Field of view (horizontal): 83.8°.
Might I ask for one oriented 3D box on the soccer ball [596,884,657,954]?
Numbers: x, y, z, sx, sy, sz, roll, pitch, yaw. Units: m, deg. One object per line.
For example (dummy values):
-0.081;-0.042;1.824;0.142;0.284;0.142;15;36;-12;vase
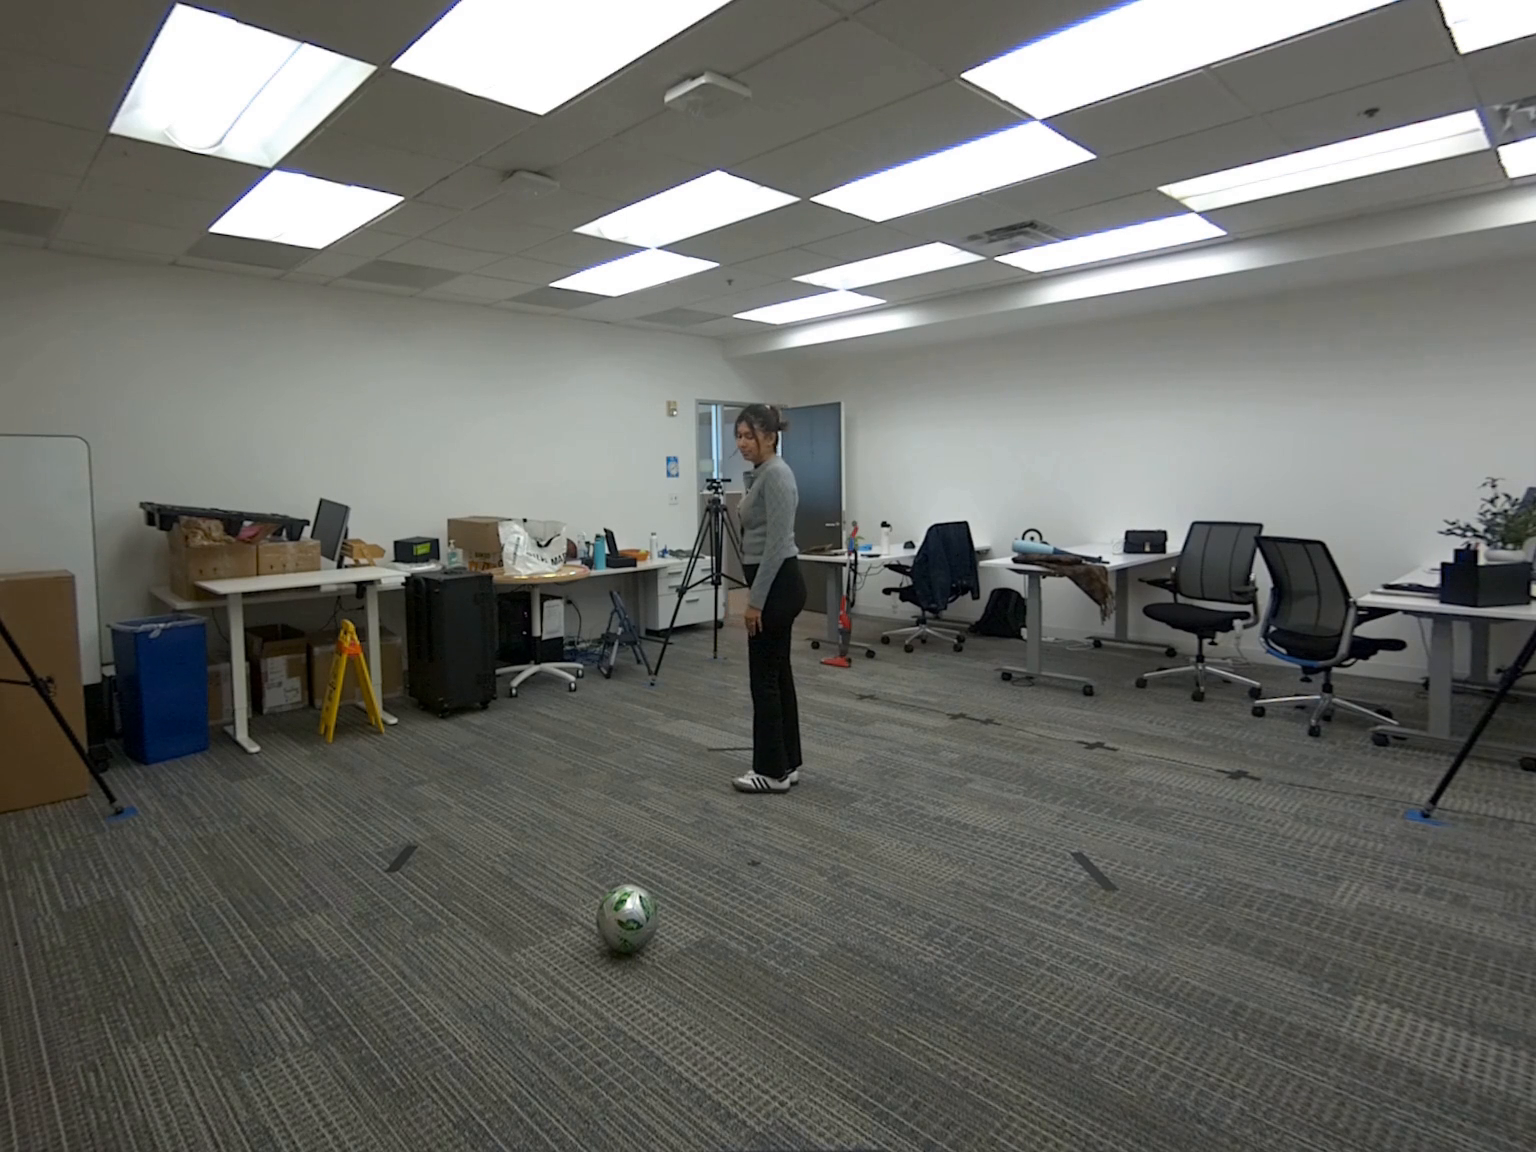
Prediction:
-0.411;1.024;2.554;0.187;0.187;0.188;-1;5;-2;soccer ball
